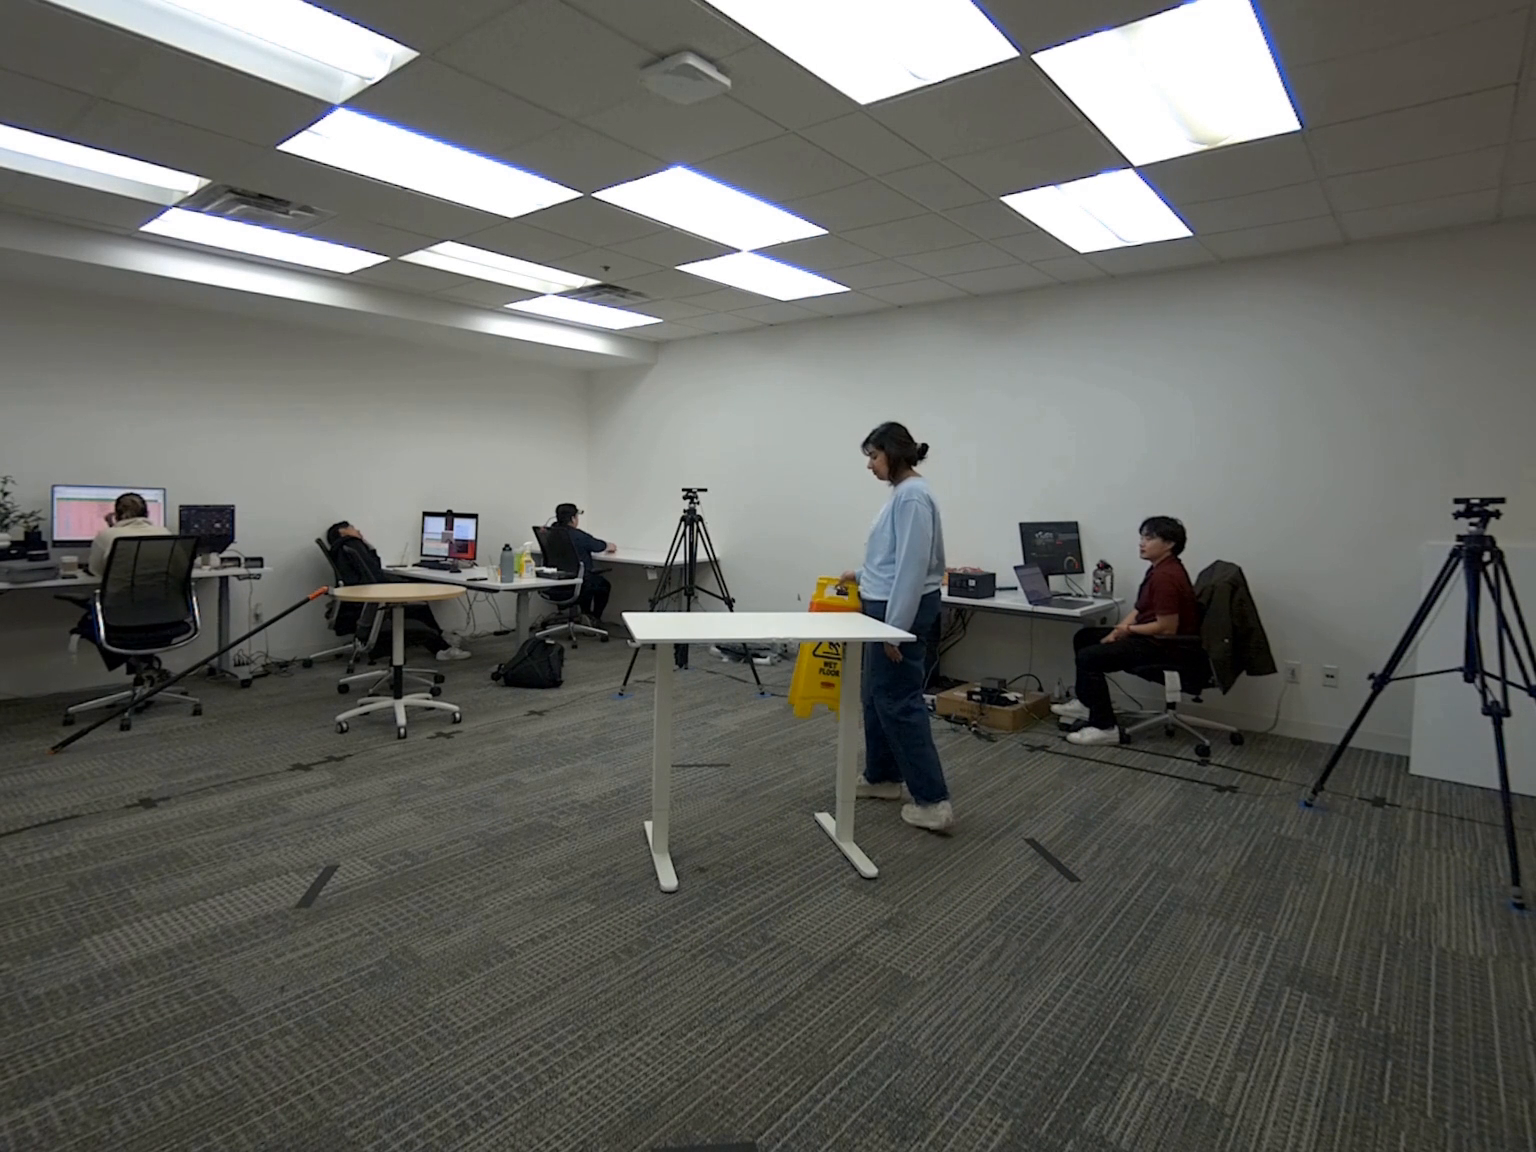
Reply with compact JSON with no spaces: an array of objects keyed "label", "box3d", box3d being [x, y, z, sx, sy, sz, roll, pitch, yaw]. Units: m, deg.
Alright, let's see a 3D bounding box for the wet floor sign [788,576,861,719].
[{"label":"wet floor sign","box3d":[0.284,0.330,4.047,0.281,0.645,0.291,9,1,-3]}]
